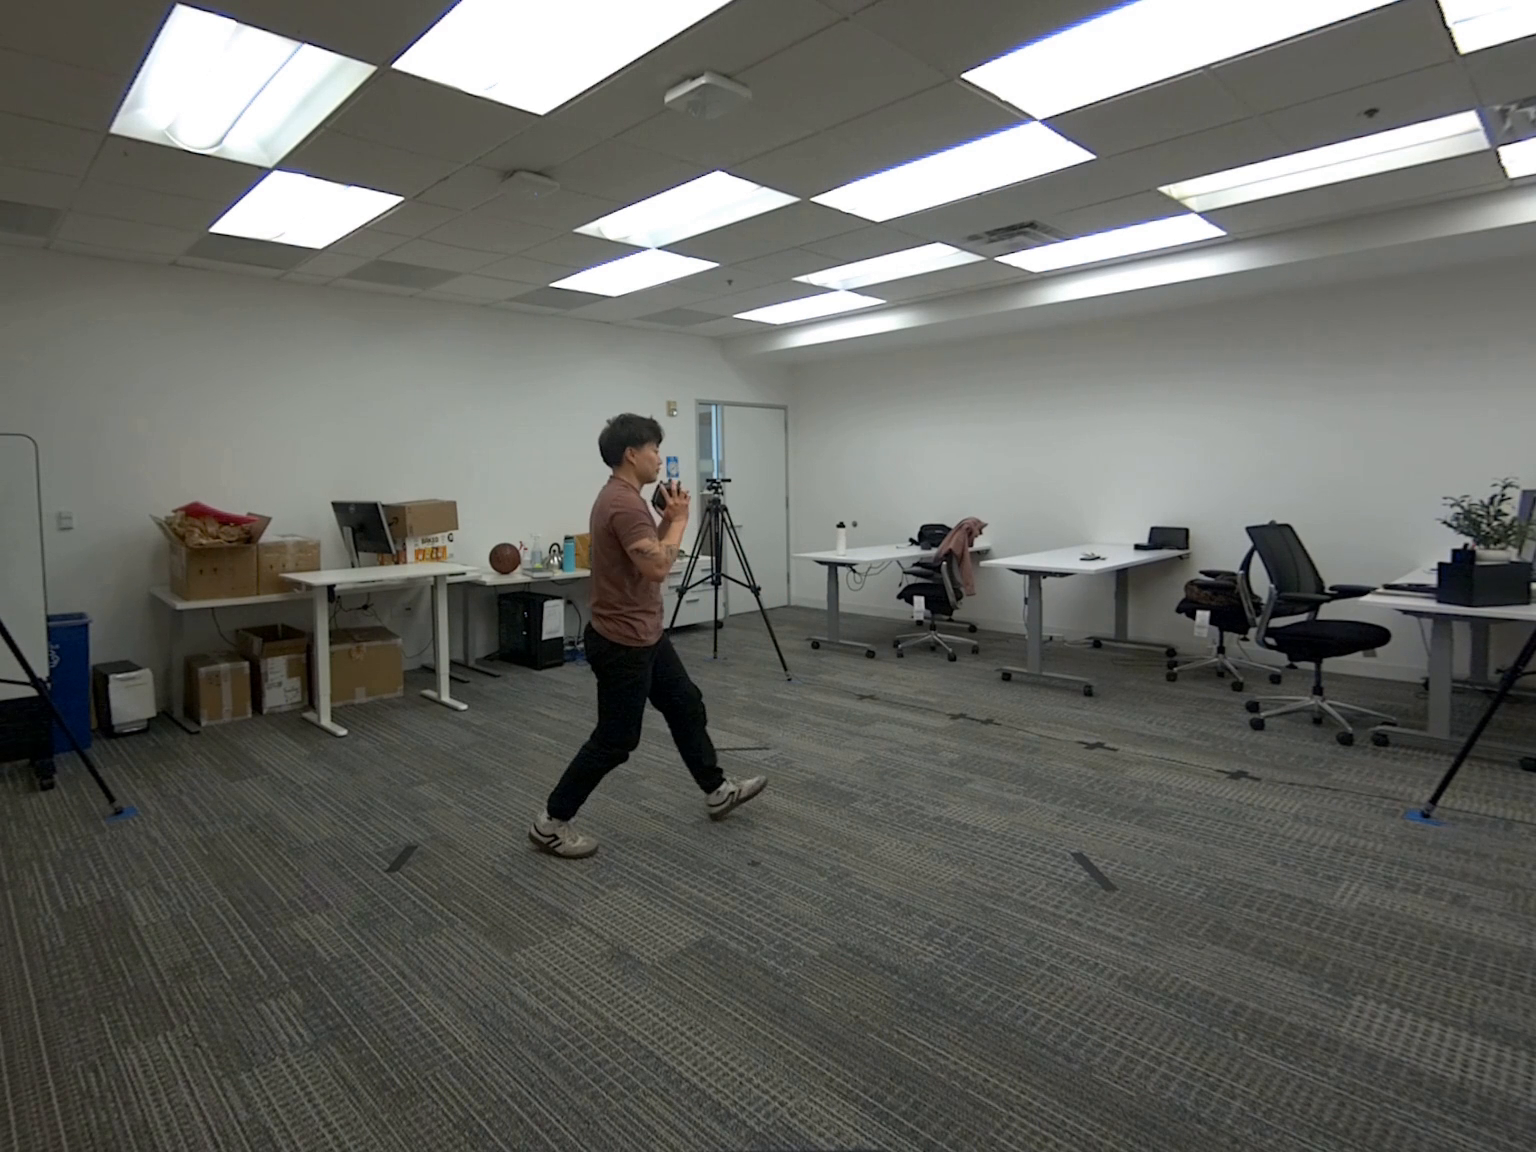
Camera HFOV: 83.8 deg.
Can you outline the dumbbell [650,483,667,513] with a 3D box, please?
[{"bbox_3d":[-0.383,-0.284,3.281,0.122,0.108,0.297,-11,10,-4],"label":"dumbbell"}]
